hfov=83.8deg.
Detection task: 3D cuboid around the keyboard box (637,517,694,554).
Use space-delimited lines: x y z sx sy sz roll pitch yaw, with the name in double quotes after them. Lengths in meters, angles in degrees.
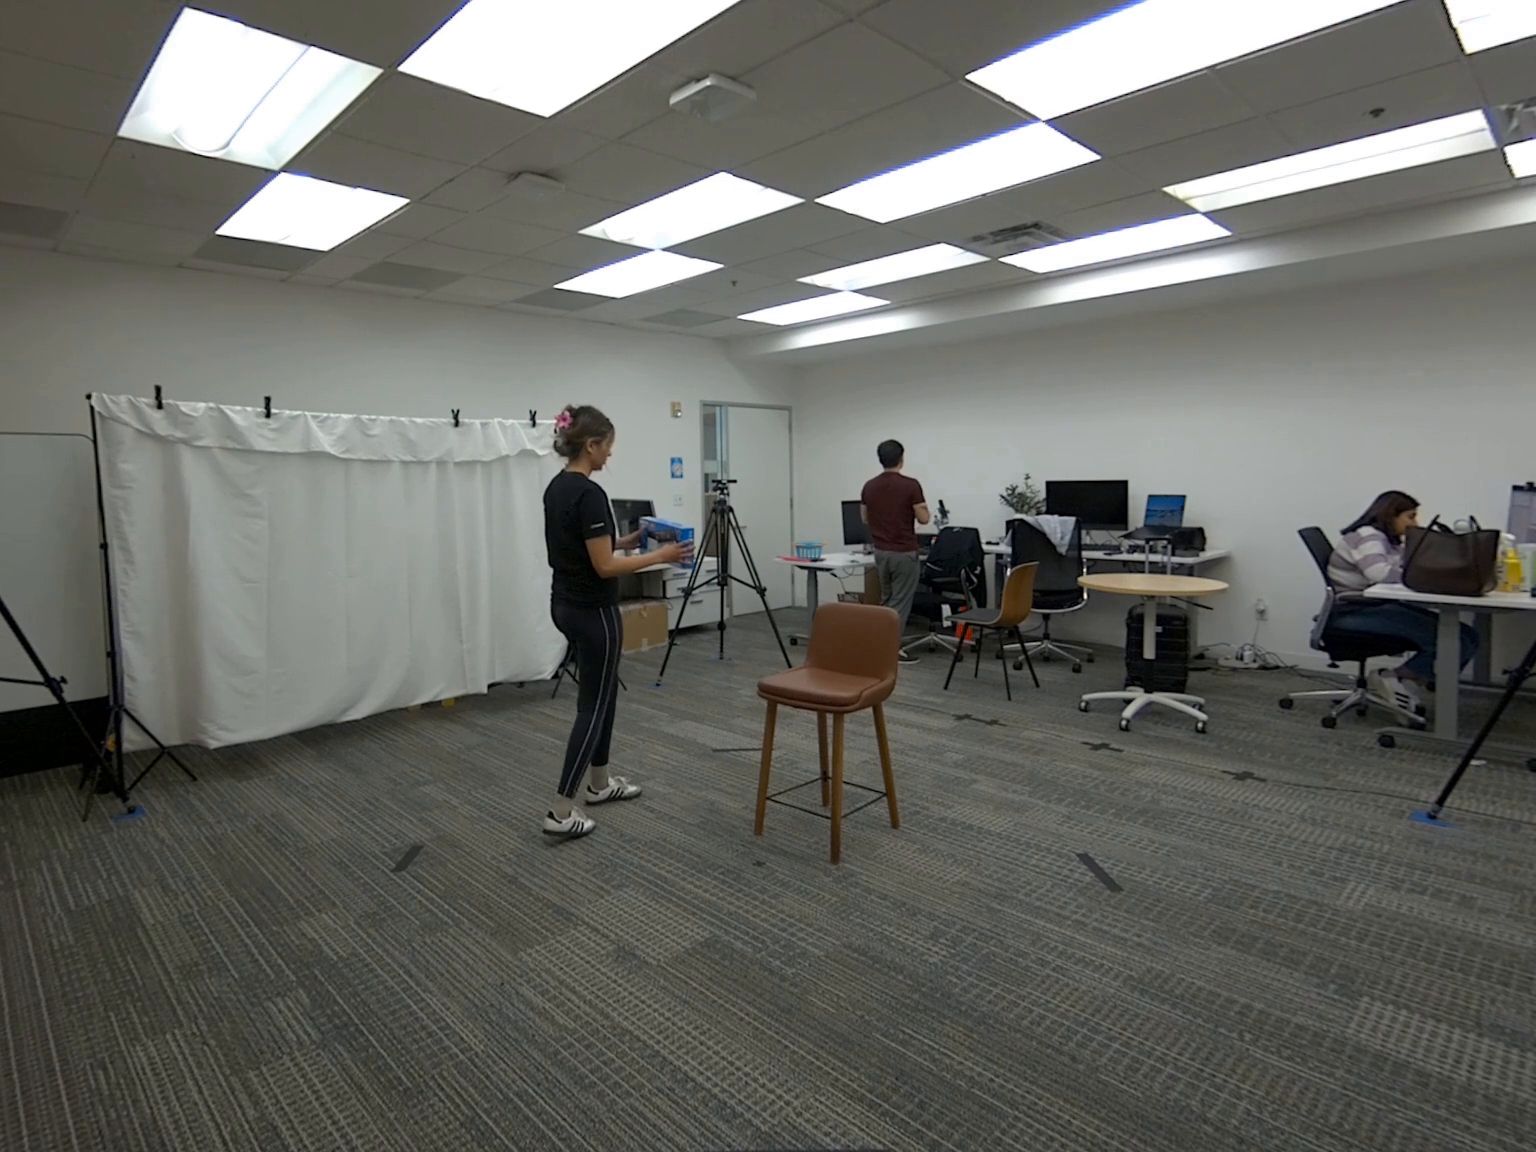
-0.452 -0.146 3.733 0.058 0.174 0.451 -4 11 -32 "keyboard box"
